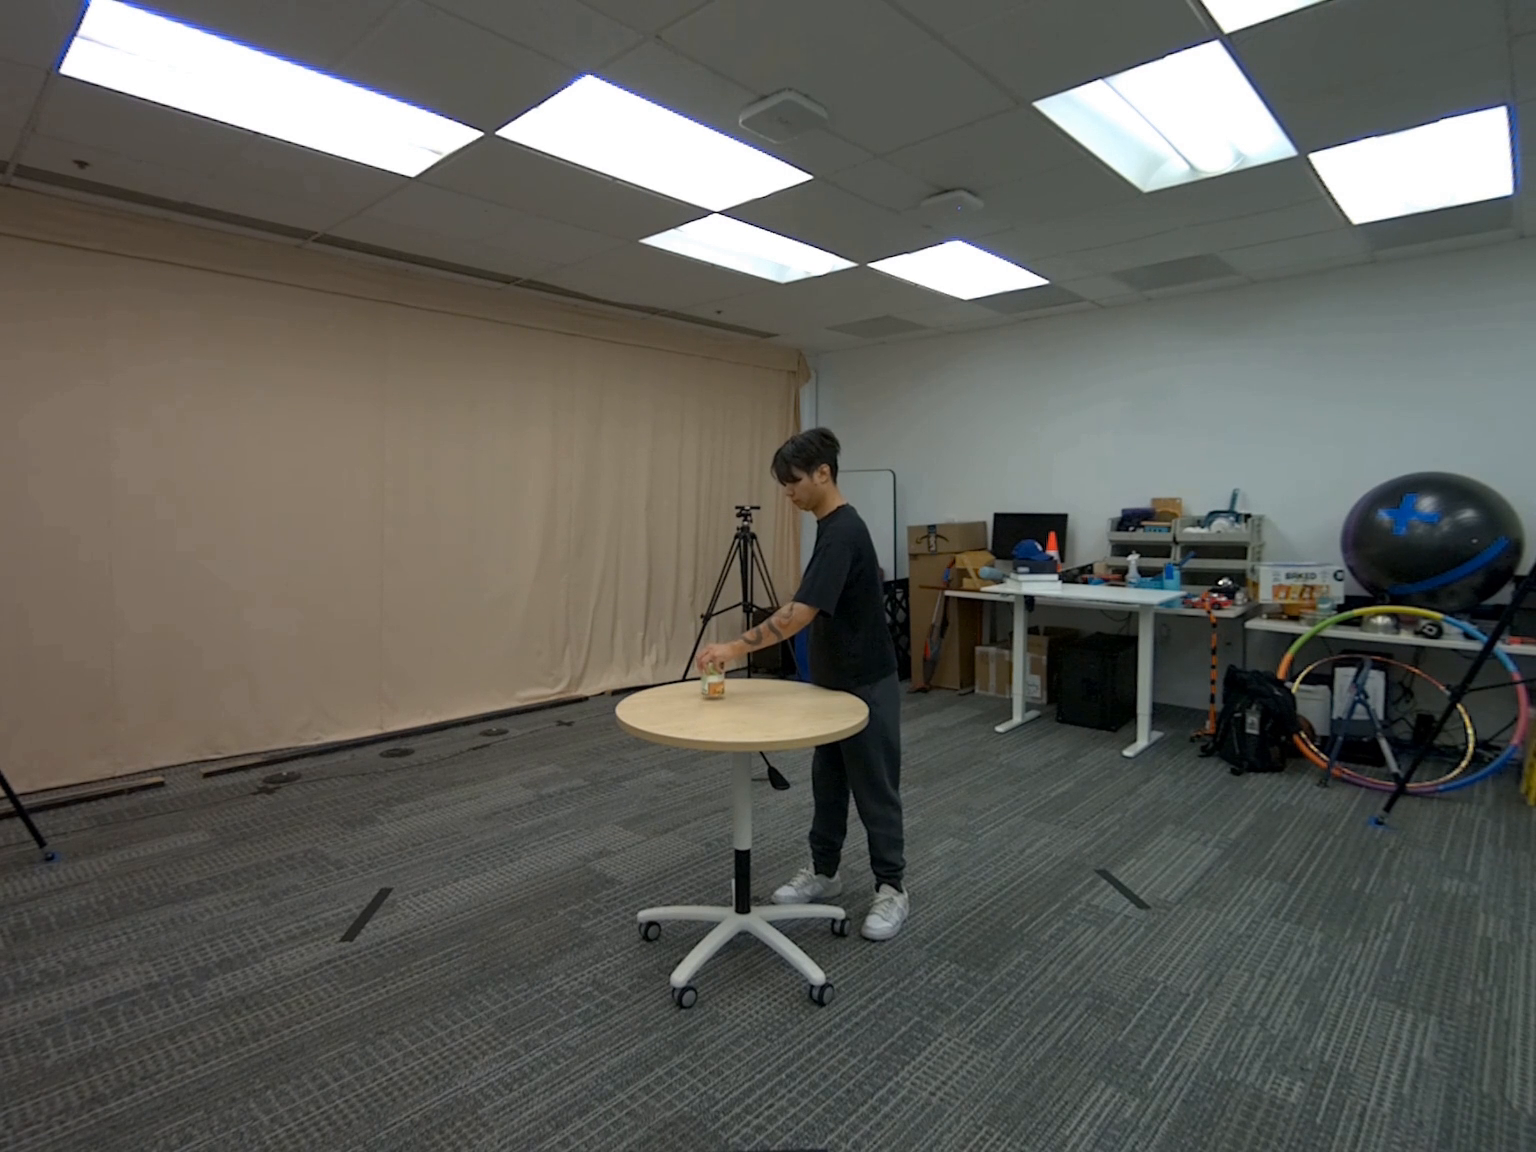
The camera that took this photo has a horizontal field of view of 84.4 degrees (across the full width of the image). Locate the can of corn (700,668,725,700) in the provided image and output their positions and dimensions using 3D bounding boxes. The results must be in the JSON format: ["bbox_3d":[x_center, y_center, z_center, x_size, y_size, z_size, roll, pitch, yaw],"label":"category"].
[{"bbox_3d":[-0.172,0.324,2.642,0.074,0.110,0.074,3,6,-2],"label":"can of corn"}]
